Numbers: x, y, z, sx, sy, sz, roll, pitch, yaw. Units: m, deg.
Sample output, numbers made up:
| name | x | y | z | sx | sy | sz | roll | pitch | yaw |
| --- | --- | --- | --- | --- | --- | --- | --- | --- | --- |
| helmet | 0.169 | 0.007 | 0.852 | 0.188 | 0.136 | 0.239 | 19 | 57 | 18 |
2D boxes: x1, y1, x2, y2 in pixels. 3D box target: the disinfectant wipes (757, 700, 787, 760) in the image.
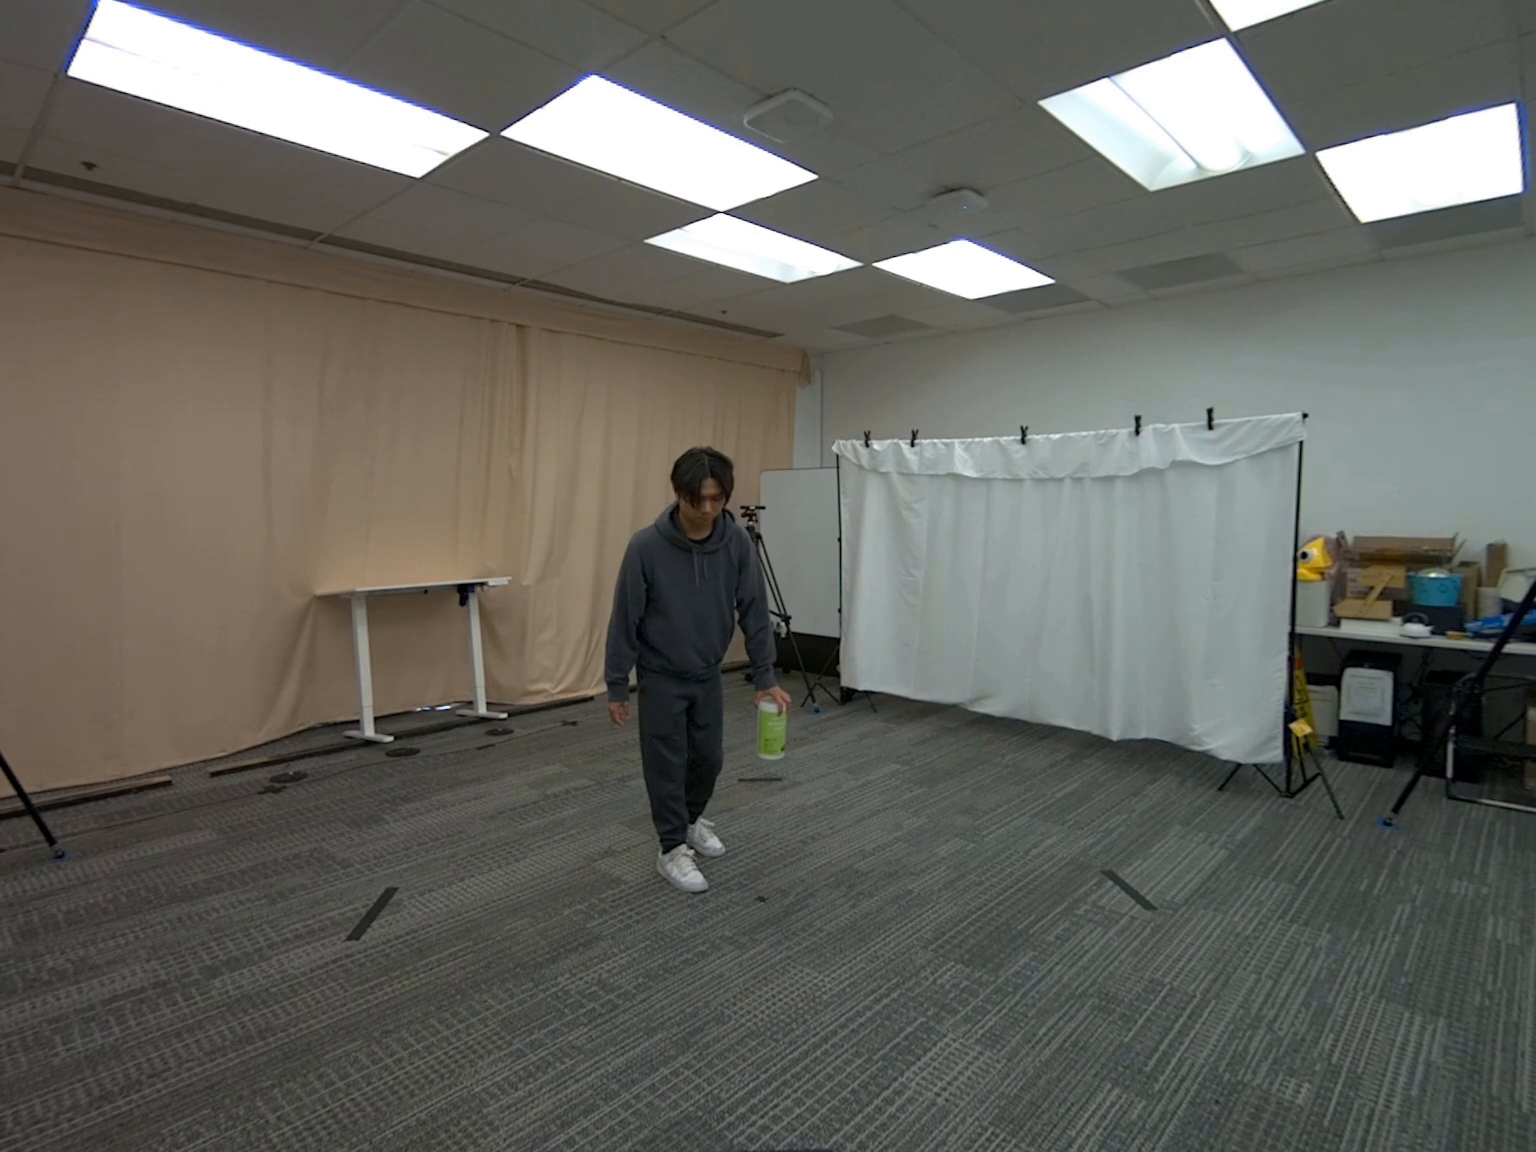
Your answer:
| name | x | y | z | sx | sy | sz | roll | pitch | yaw |
| --- | --- | --- | --- | --- | --- | --- | --- | --- | --- |
| disinfectant wipes | 0.011 | 0.564 | 3.097 | 0.117 | 0.216 | 0.119 | 1 | 11 | -2 |
